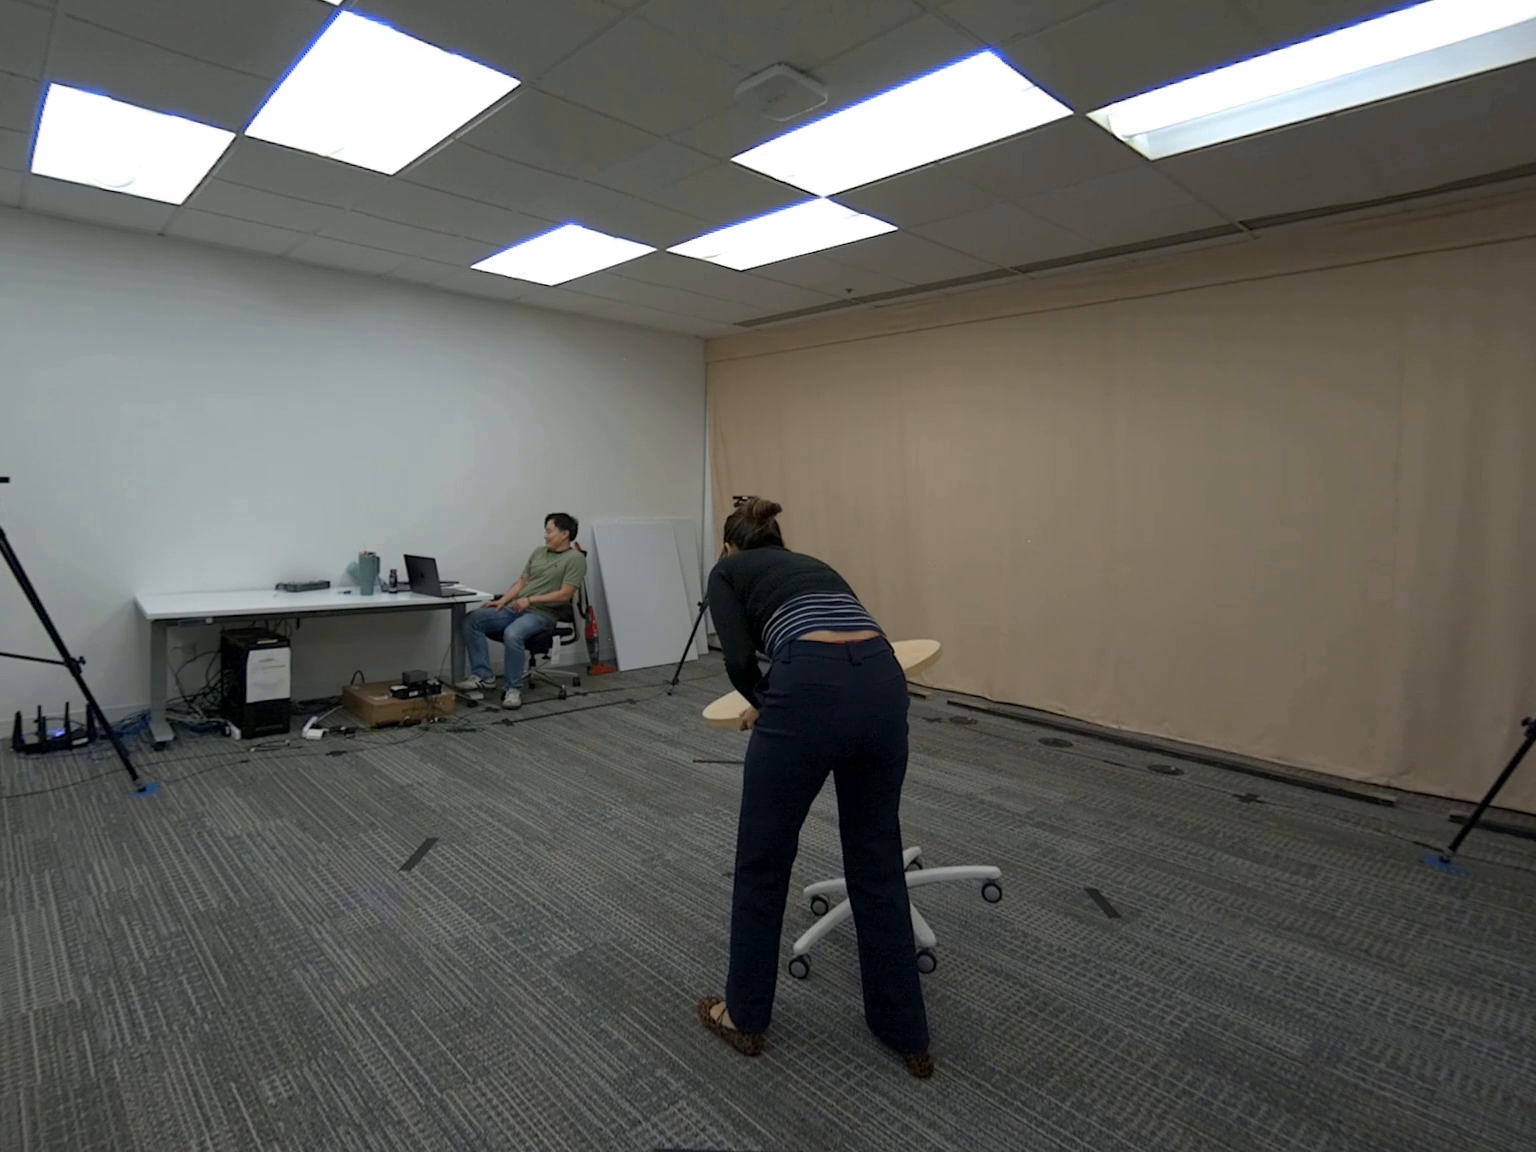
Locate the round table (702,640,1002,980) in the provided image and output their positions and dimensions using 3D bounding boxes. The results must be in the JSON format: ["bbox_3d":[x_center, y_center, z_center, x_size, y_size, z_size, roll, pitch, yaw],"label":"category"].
[{"bbox_3d":[0.280,0.698,2.616,0.763,0.795,0.764,-17,0,-1],"label":"round table"}]
